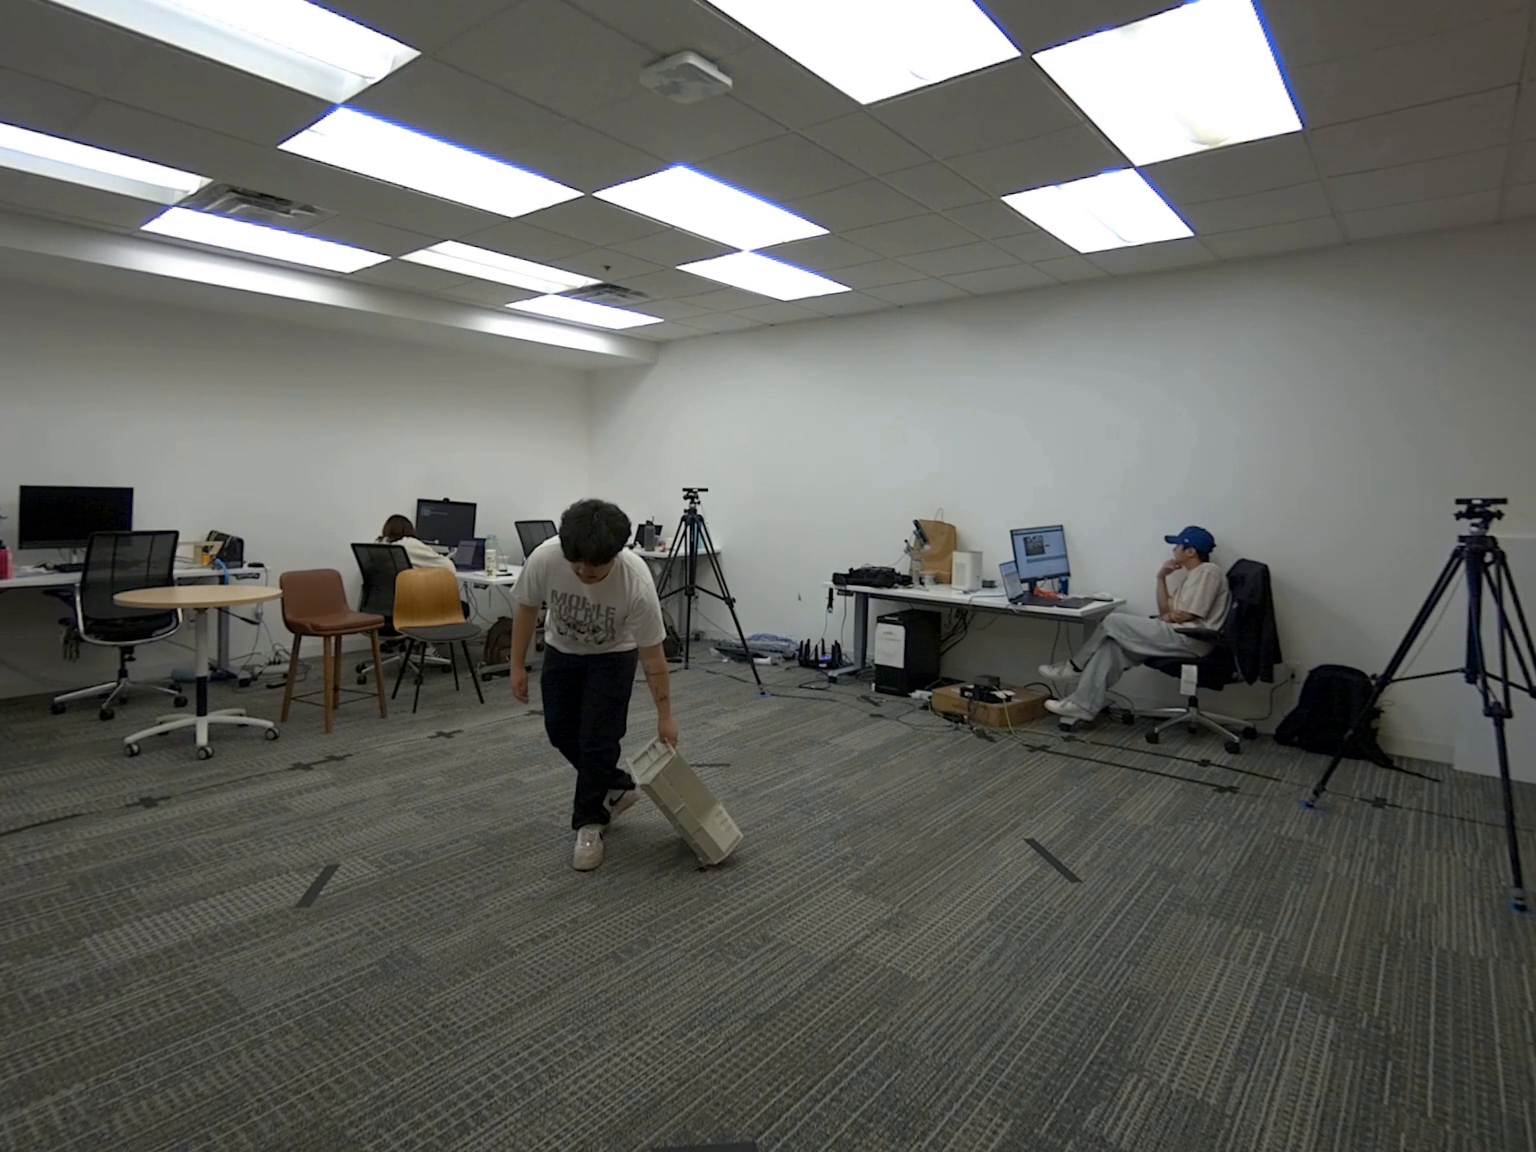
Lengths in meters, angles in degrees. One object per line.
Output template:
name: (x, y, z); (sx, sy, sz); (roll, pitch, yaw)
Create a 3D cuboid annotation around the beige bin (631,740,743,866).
beige bin: (-0.330, 0.838, 3.236); (0.188, 0.415, 0.385); (-40, 14, -12)
